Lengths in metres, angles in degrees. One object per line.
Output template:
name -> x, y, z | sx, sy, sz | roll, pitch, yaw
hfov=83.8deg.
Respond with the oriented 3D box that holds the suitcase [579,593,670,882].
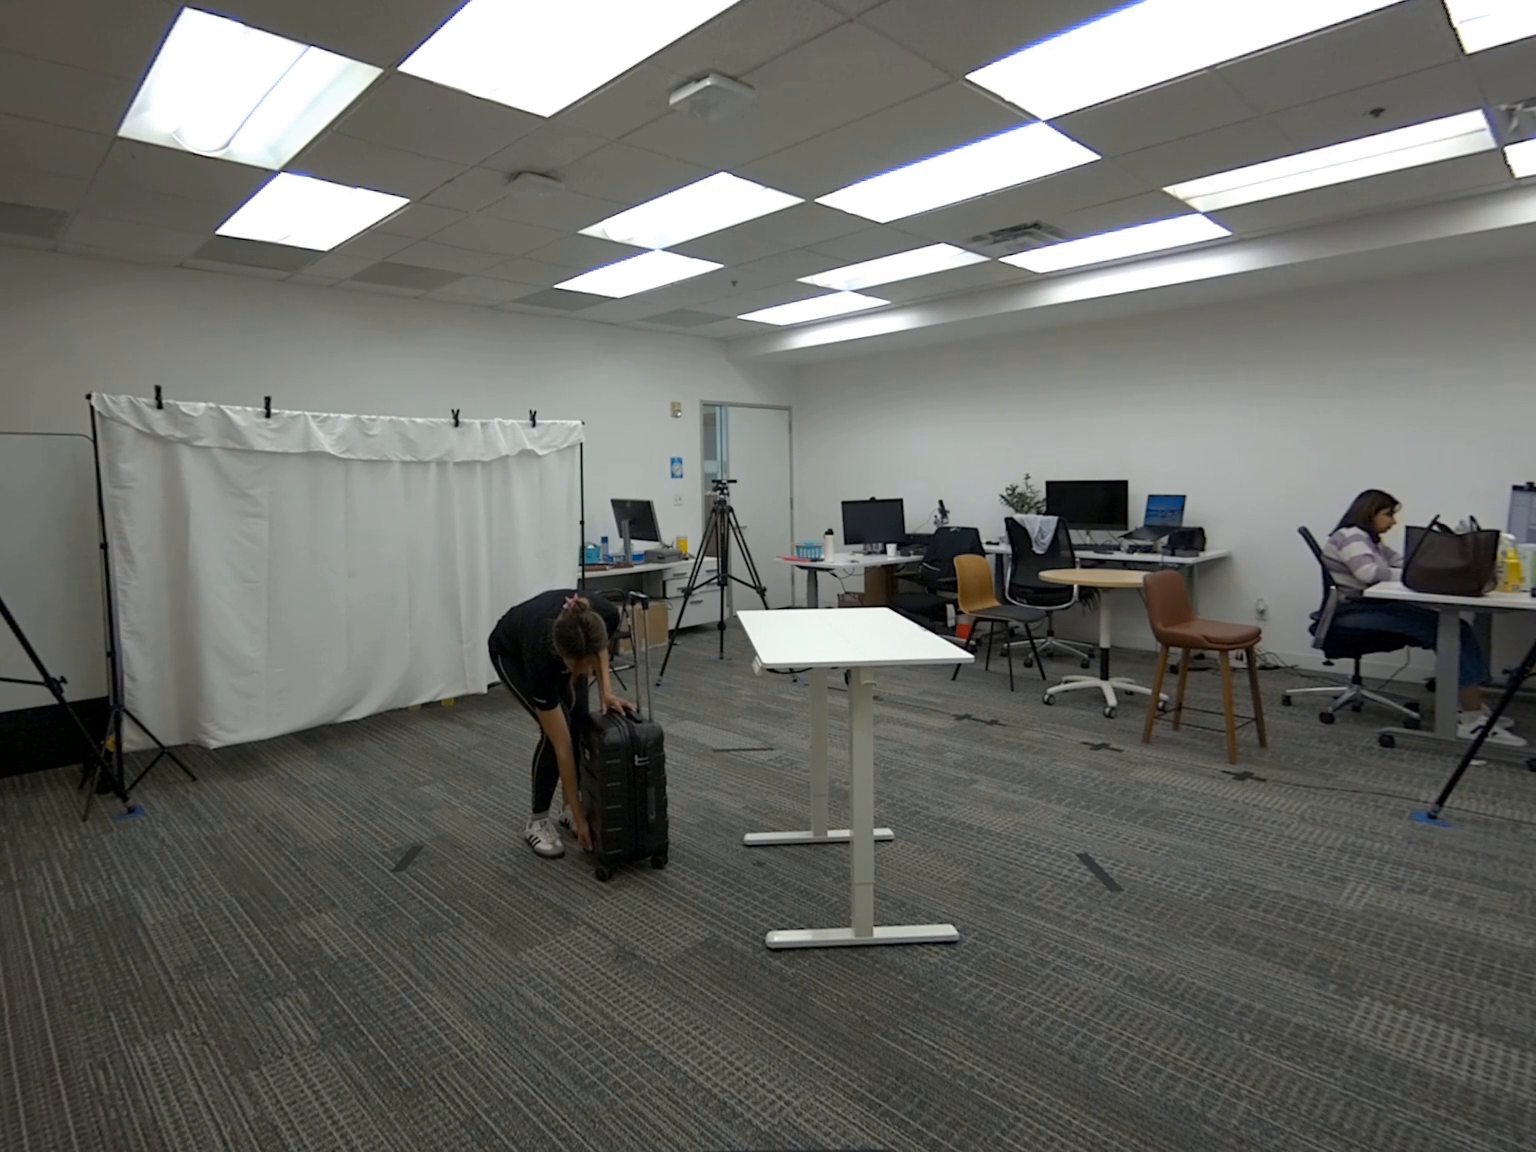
suitcase -> -0.537, 0.571, 3.133 | 0.252, 0.975, 0.392 | -3, 5, -21
